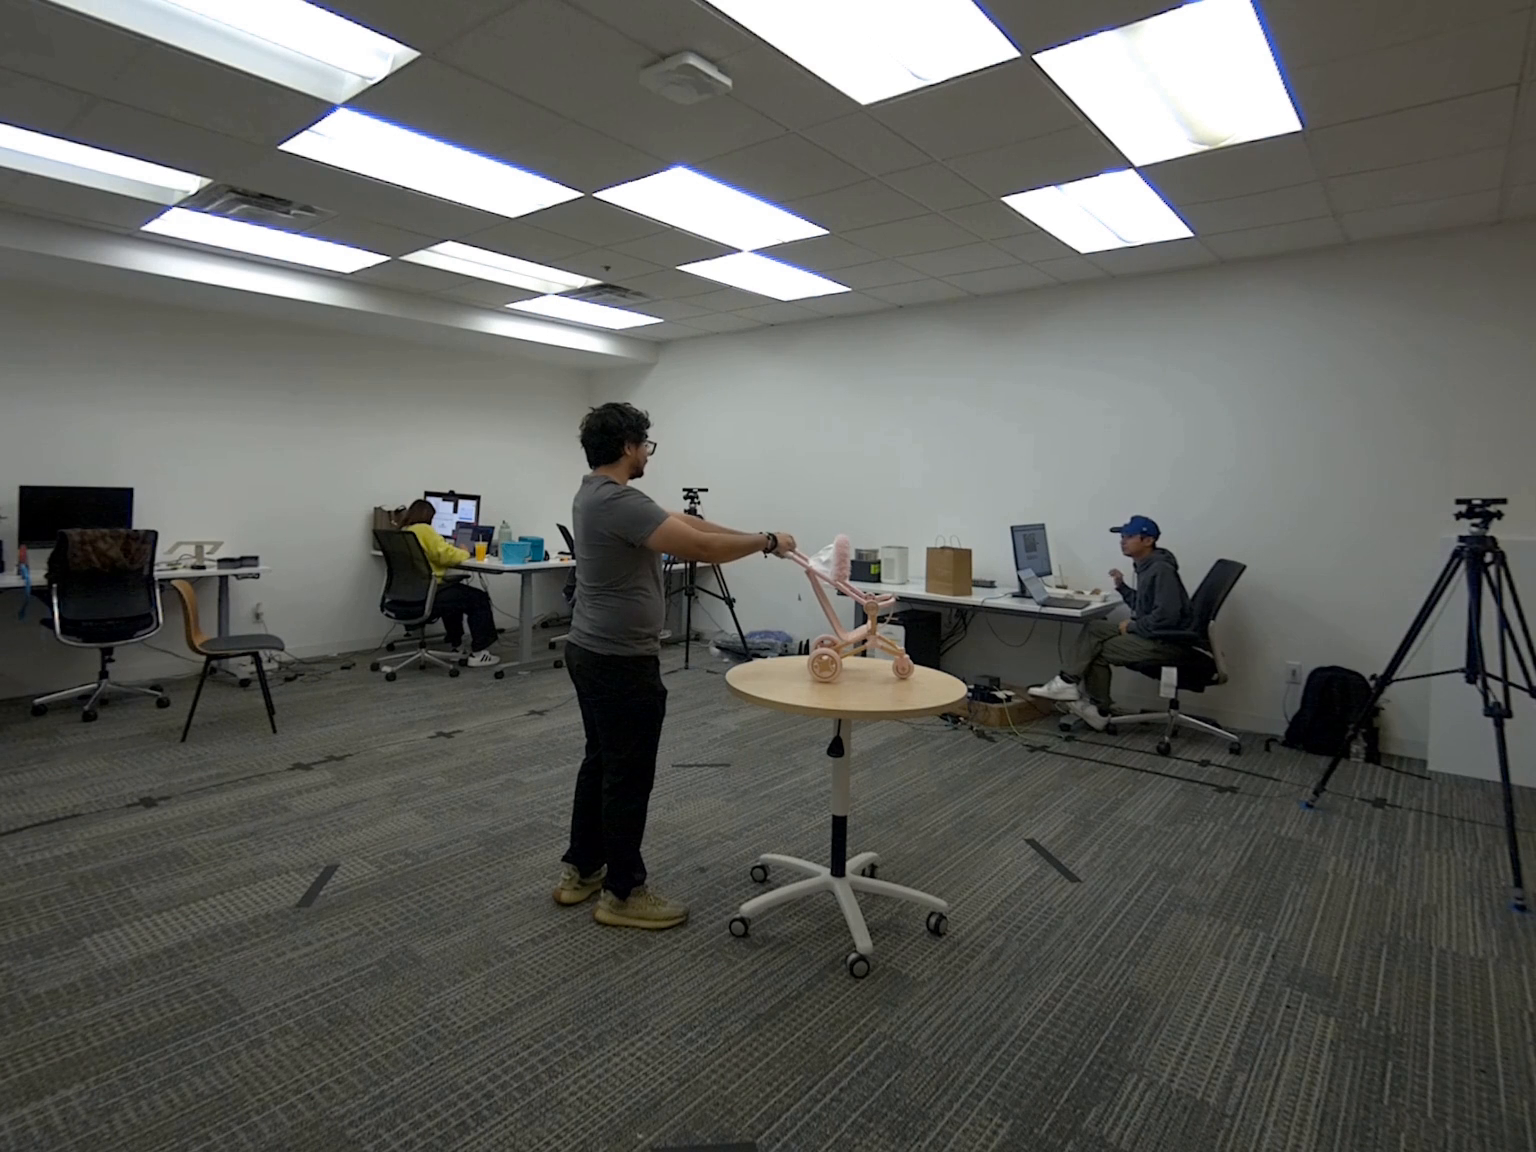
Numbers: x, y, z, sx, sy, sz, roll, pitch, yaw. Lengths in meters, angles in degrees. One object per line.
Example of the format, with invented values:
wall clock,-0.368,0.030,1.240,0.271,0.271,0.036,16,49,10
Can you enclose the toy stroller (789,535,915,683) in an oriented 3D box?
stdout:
toy stroller,0.255,0.106,2.788,0.345,0.535,0.278,-13,0,12
